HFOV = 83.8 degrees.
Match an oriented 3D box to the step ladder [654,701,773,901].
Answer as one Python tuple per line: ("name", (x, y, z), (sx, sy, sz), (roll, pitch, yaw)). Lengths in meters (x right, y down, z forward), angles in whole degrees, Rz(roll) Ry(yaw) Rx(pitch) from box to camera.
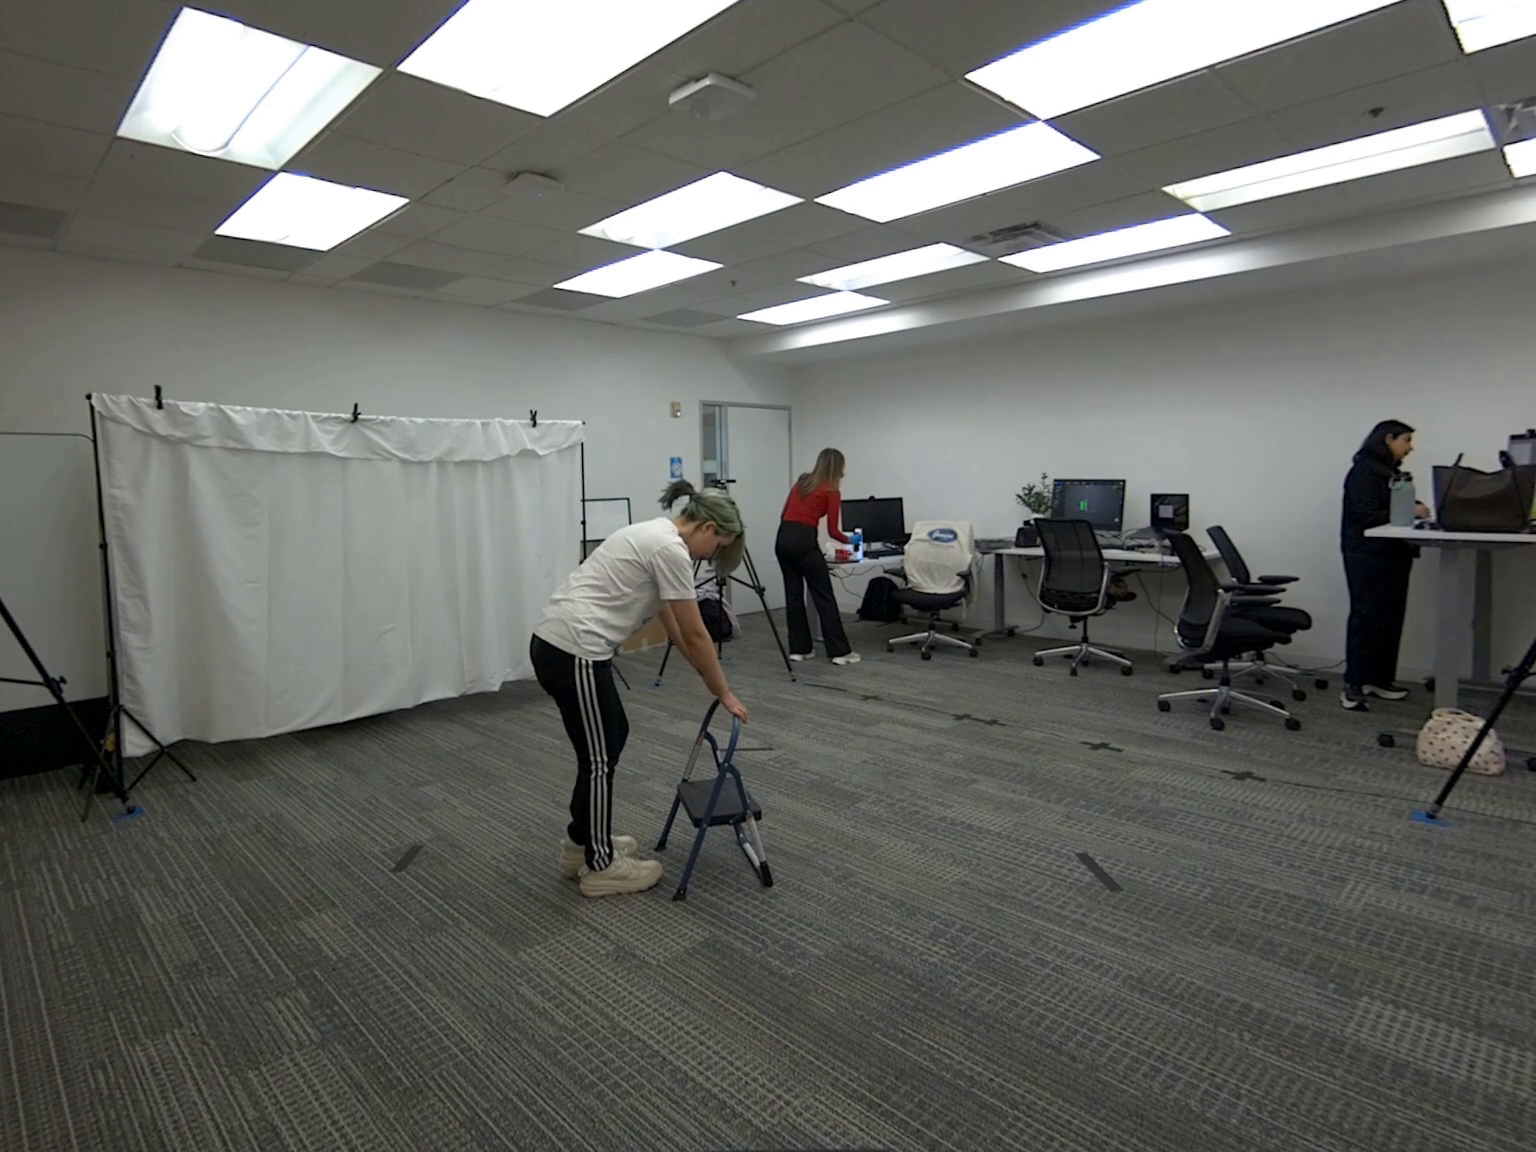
("step ladder", (-0.209, 0.754, 3.072), (0.344, 0.604, 0.438), (-3, 5, -15))
